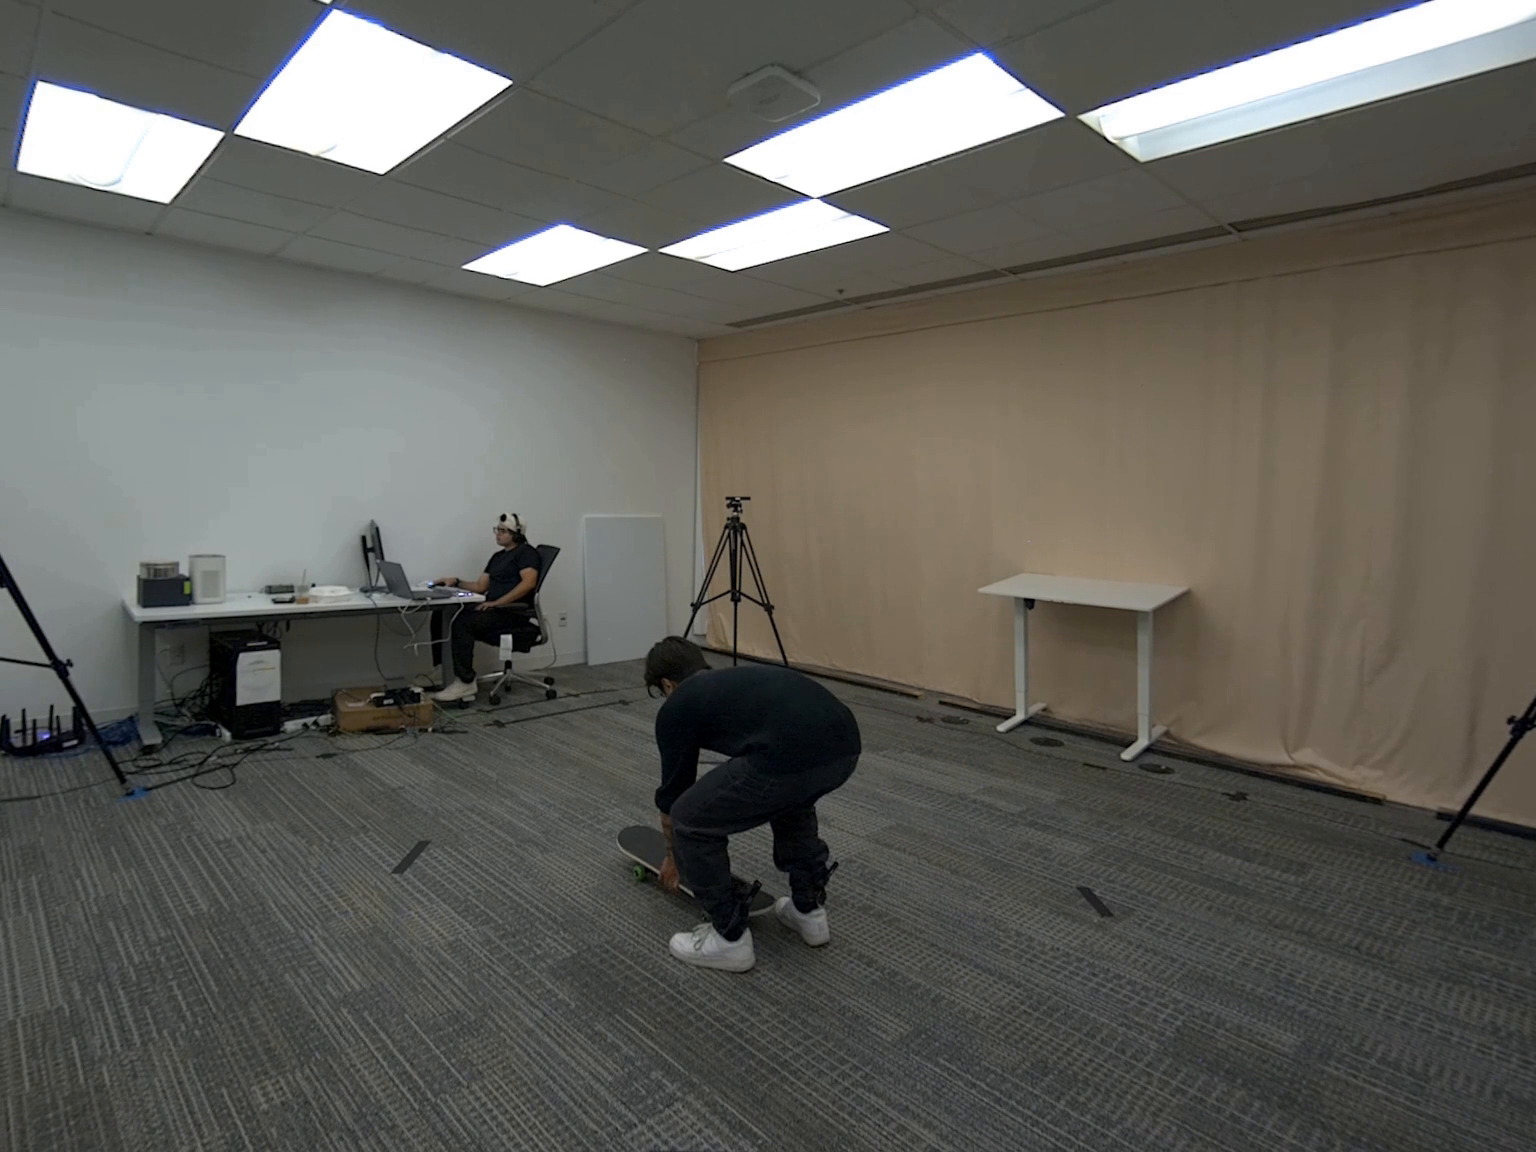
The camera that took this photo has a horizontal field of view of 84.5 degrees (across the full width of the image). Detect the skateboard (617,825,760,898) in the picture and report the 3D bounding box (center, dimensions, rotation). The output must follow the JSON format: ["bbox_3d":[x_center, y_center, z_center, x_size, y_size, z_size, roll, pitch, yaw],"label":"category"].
[{"bbox_3d":[-0.283,1.056,2.936,0.189,0.110,0.807,-4,9,-41],"label":"skateboard"}]
